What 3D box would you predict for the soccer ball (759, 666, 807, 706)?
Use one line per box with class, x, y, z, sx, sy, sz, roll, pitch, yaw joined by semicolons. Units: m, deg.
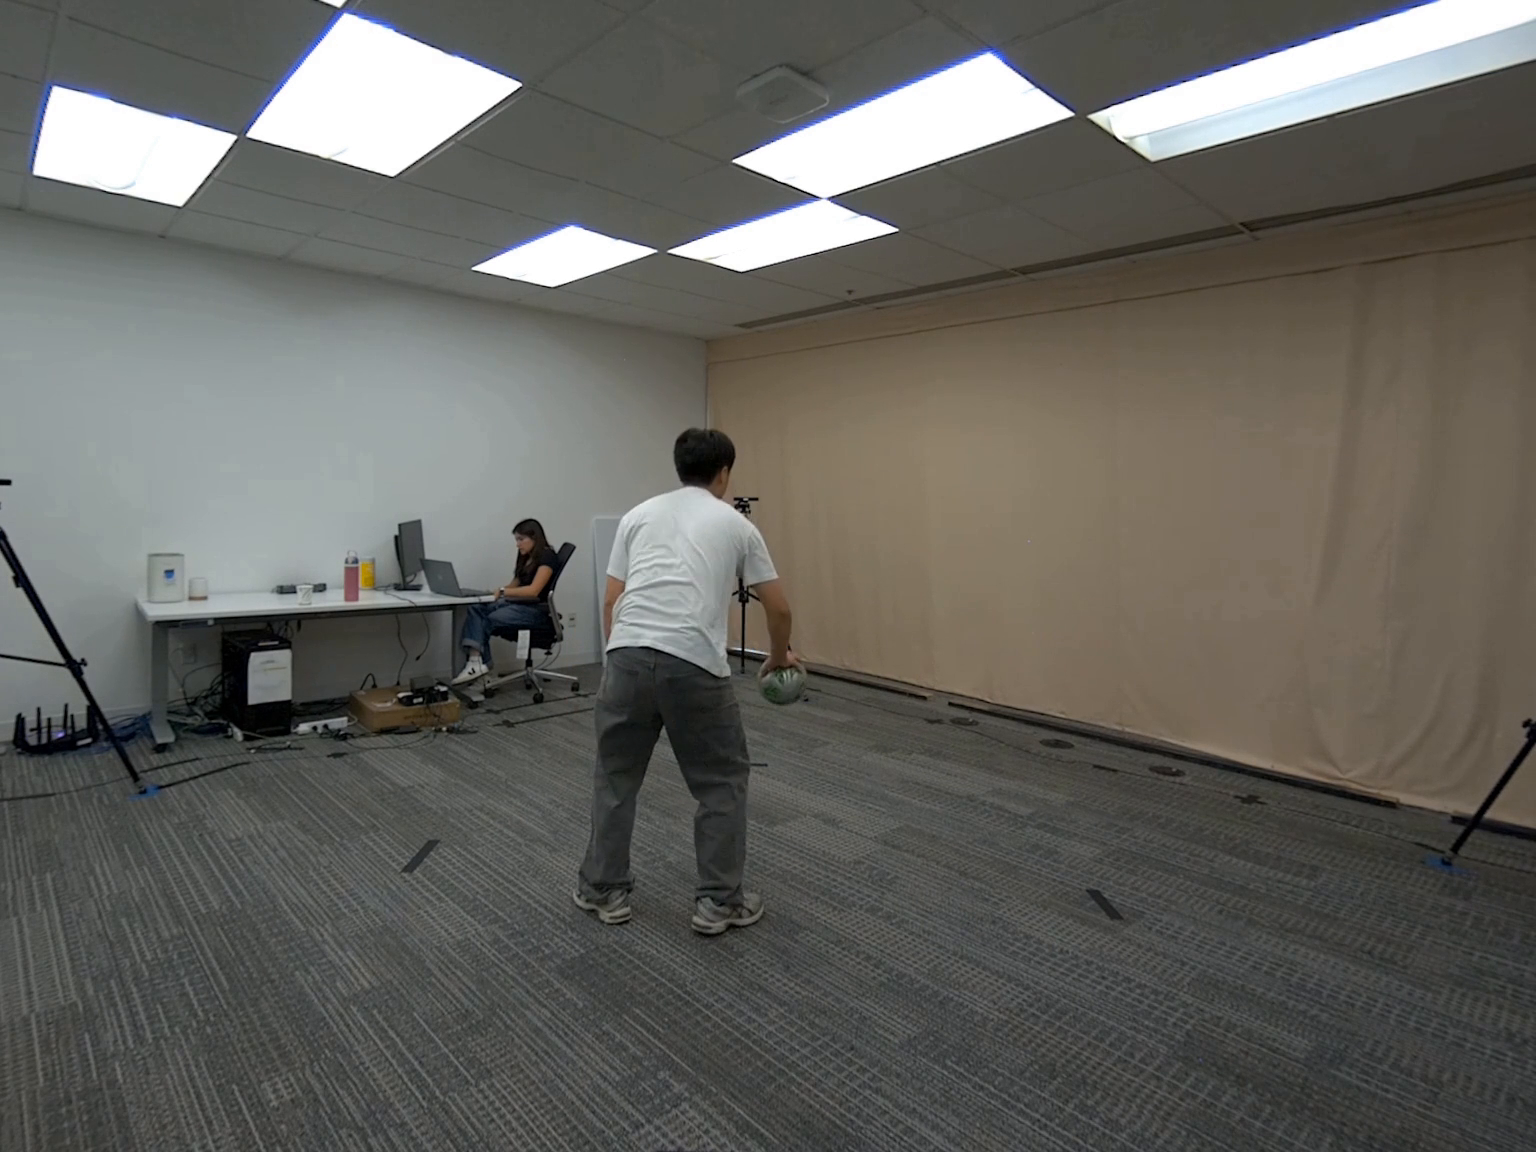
soccer ball;0.042;0.417;3.113;0.187;0.187;0.188;1;4;-1
